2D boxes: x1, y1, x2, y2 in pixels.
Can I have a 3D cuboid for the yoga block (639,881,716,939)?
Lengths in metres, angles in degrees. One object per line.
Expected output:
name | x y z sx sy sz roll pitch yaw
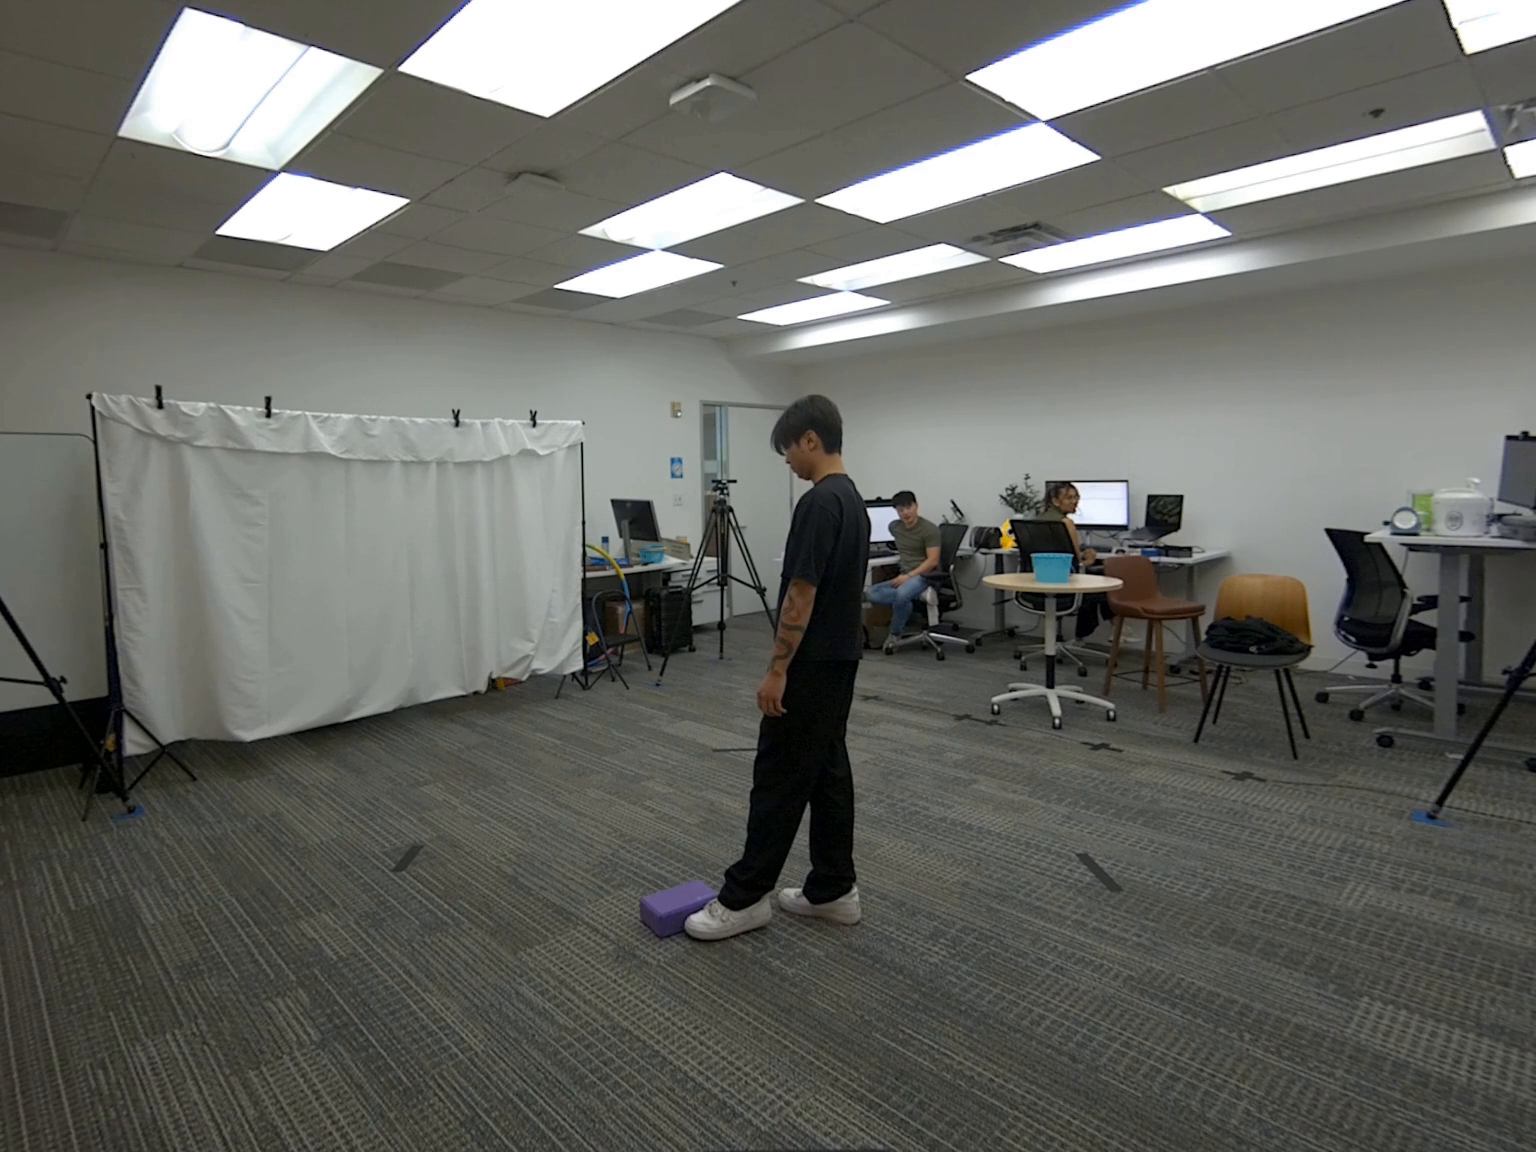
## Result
yoga block | -0.272 1.054 2.721 0.224 0.076 0.153 -6 6 -33
